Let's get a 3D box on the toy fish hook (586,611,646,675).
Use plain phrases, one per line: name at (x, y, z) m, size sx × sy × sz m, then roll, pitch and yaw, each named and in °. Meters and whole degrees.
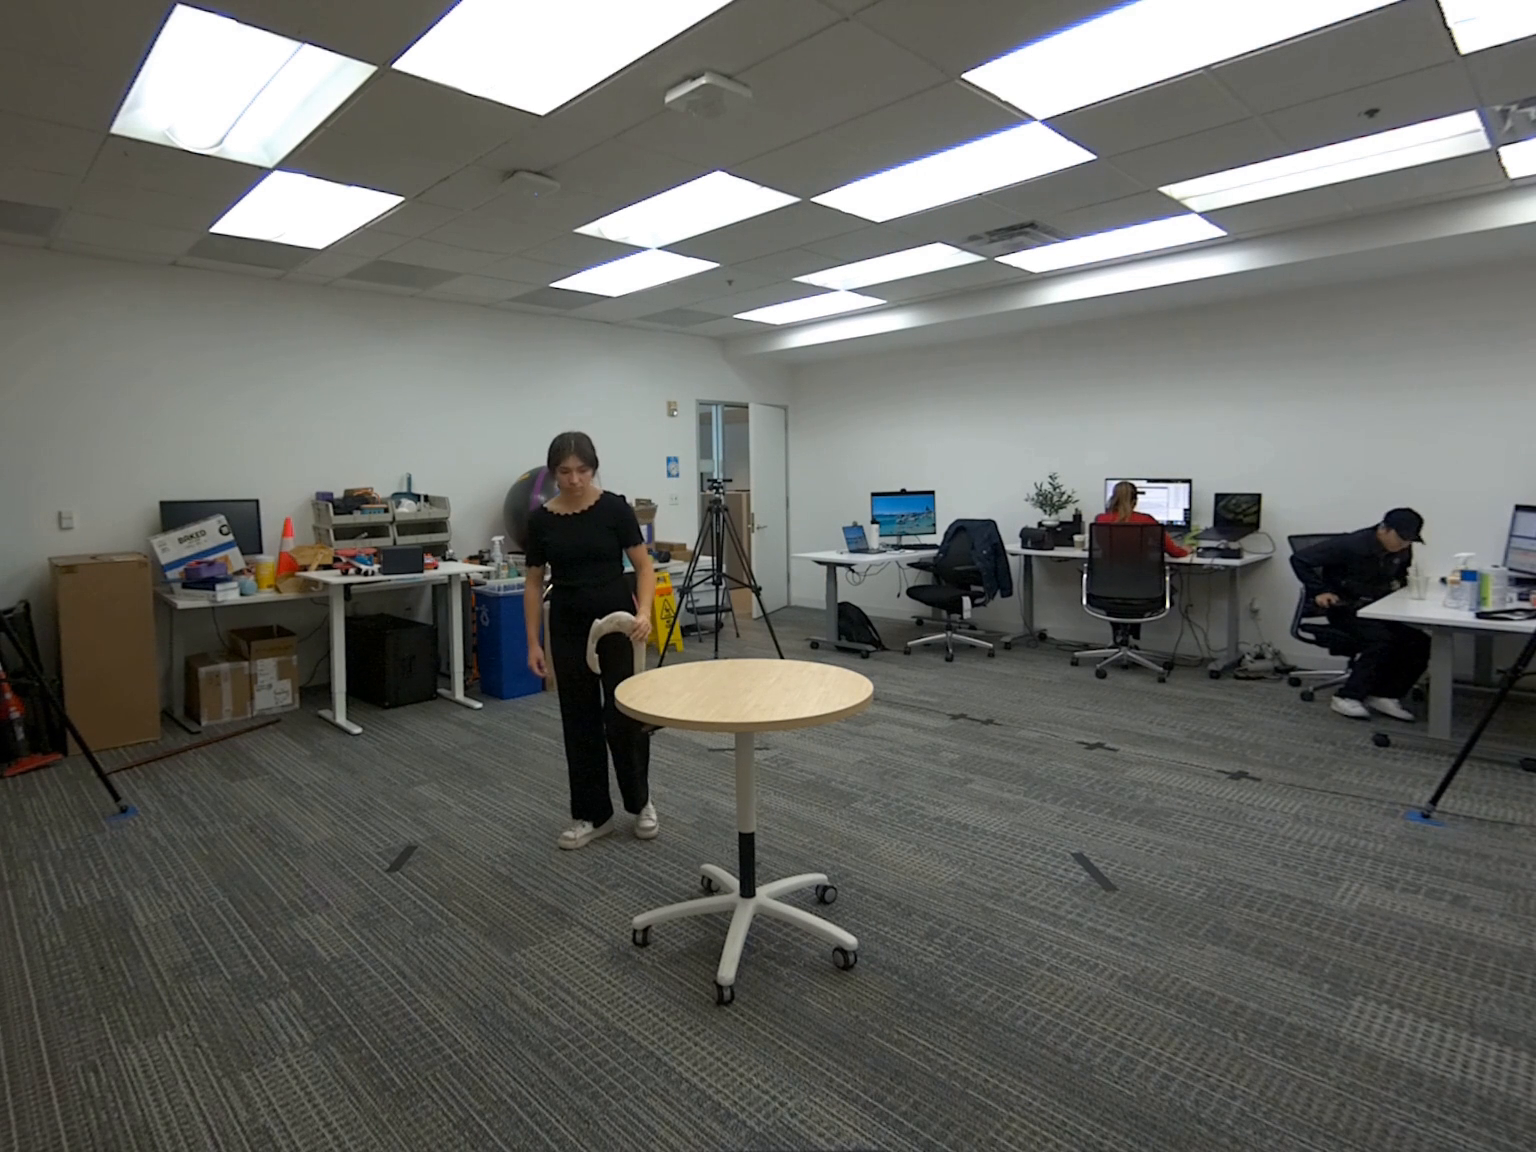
toy fish hook at (-0.523, 0.380, 3.119) m, size 0.221 × 0.499 × 0.050 m, roll -17°, pitch 16°, yaw -23°
